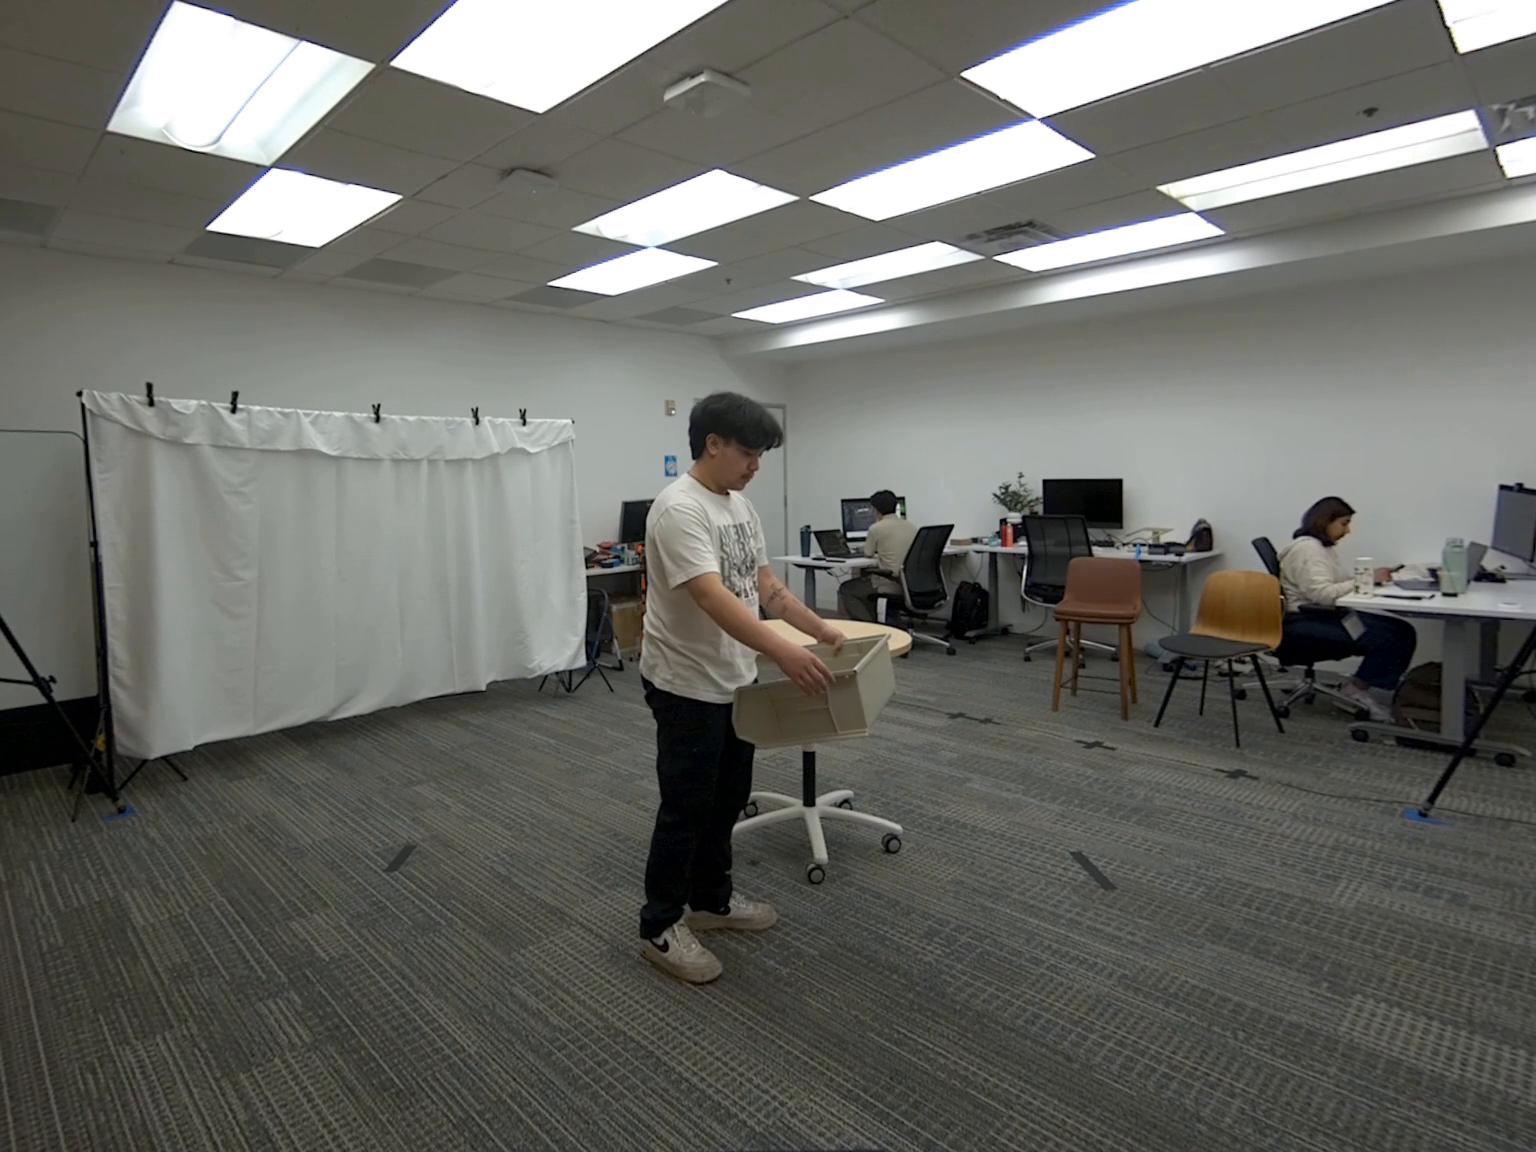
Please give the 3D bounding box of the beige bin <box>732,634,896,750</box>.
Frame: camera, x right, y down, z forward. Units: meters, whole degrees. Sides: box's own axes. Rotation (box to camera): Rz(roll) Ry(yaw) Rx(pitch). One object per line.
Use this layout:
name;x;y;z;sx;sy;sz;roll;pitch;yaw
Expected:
beige bin;0.150;0.317;2.430;0.383;0.188;0.417;-8;5;19
